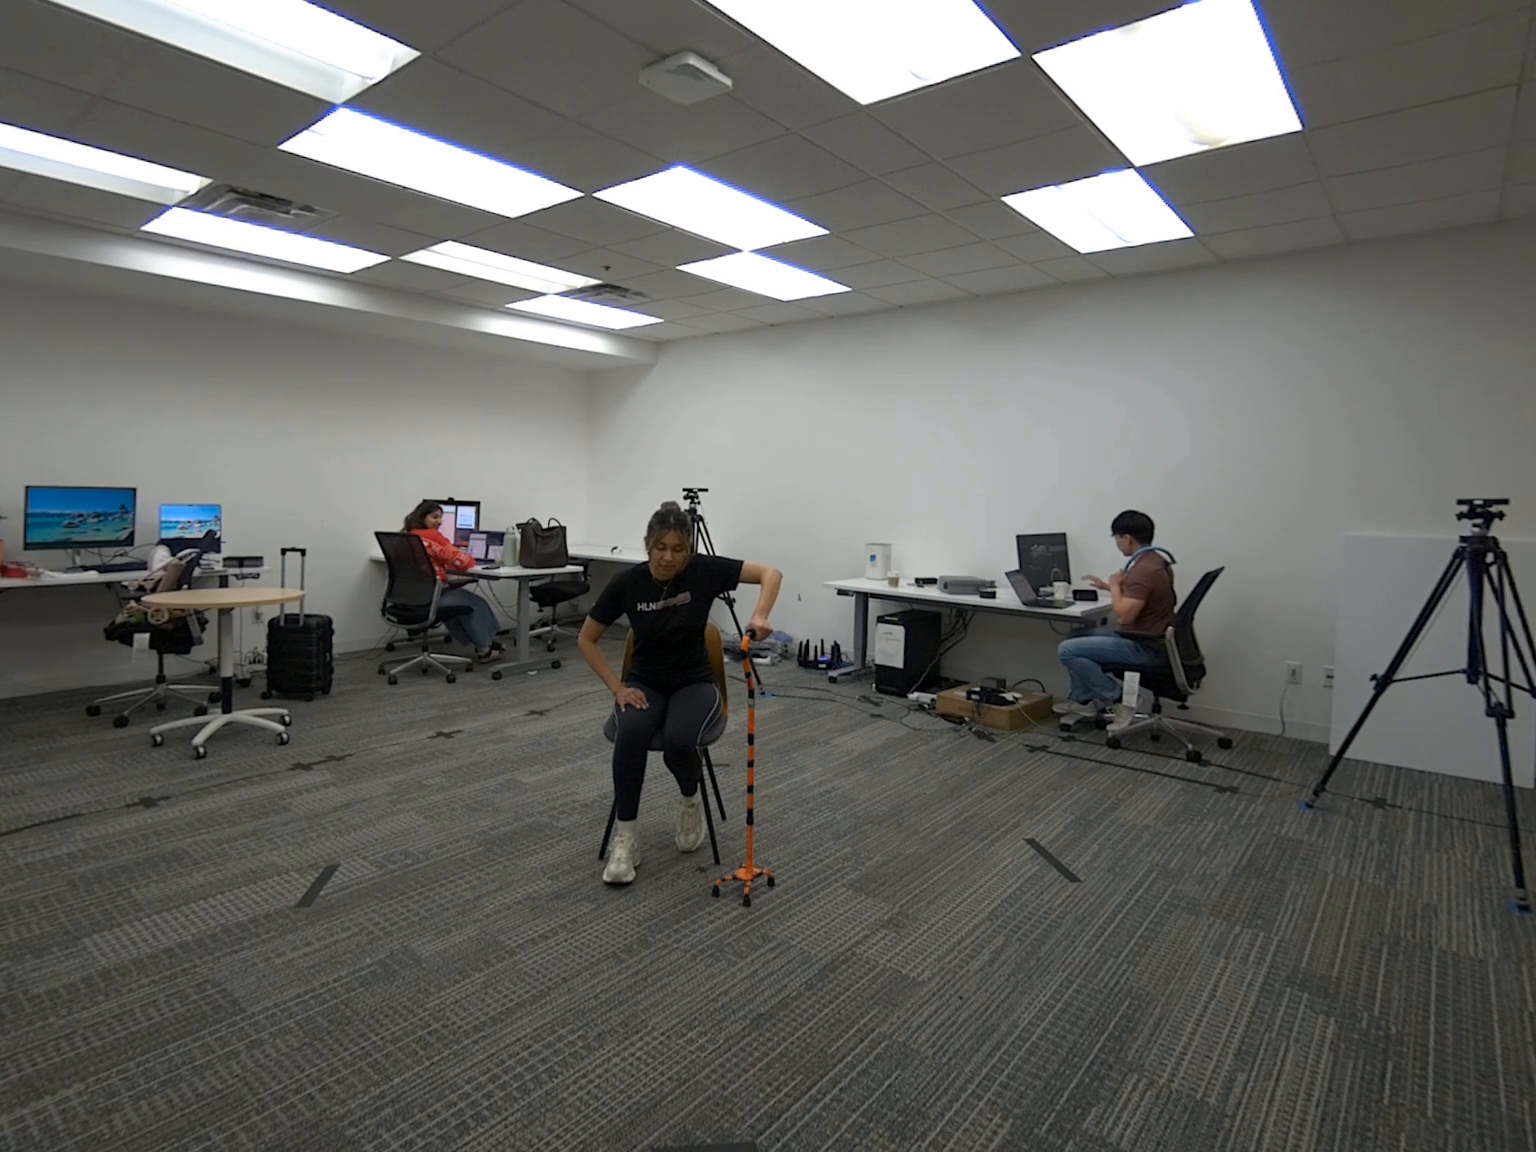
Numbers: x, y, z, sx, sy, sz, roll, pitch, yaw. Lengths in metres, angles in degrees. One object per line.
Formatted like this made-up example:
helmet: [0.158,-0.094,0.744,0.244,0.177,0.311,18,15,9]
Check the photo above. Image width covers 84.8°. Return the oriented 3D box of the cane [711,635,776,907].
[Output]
cane: [-0.080,0.640,2.932,0.156,0.906,0.201,2,2,30]
